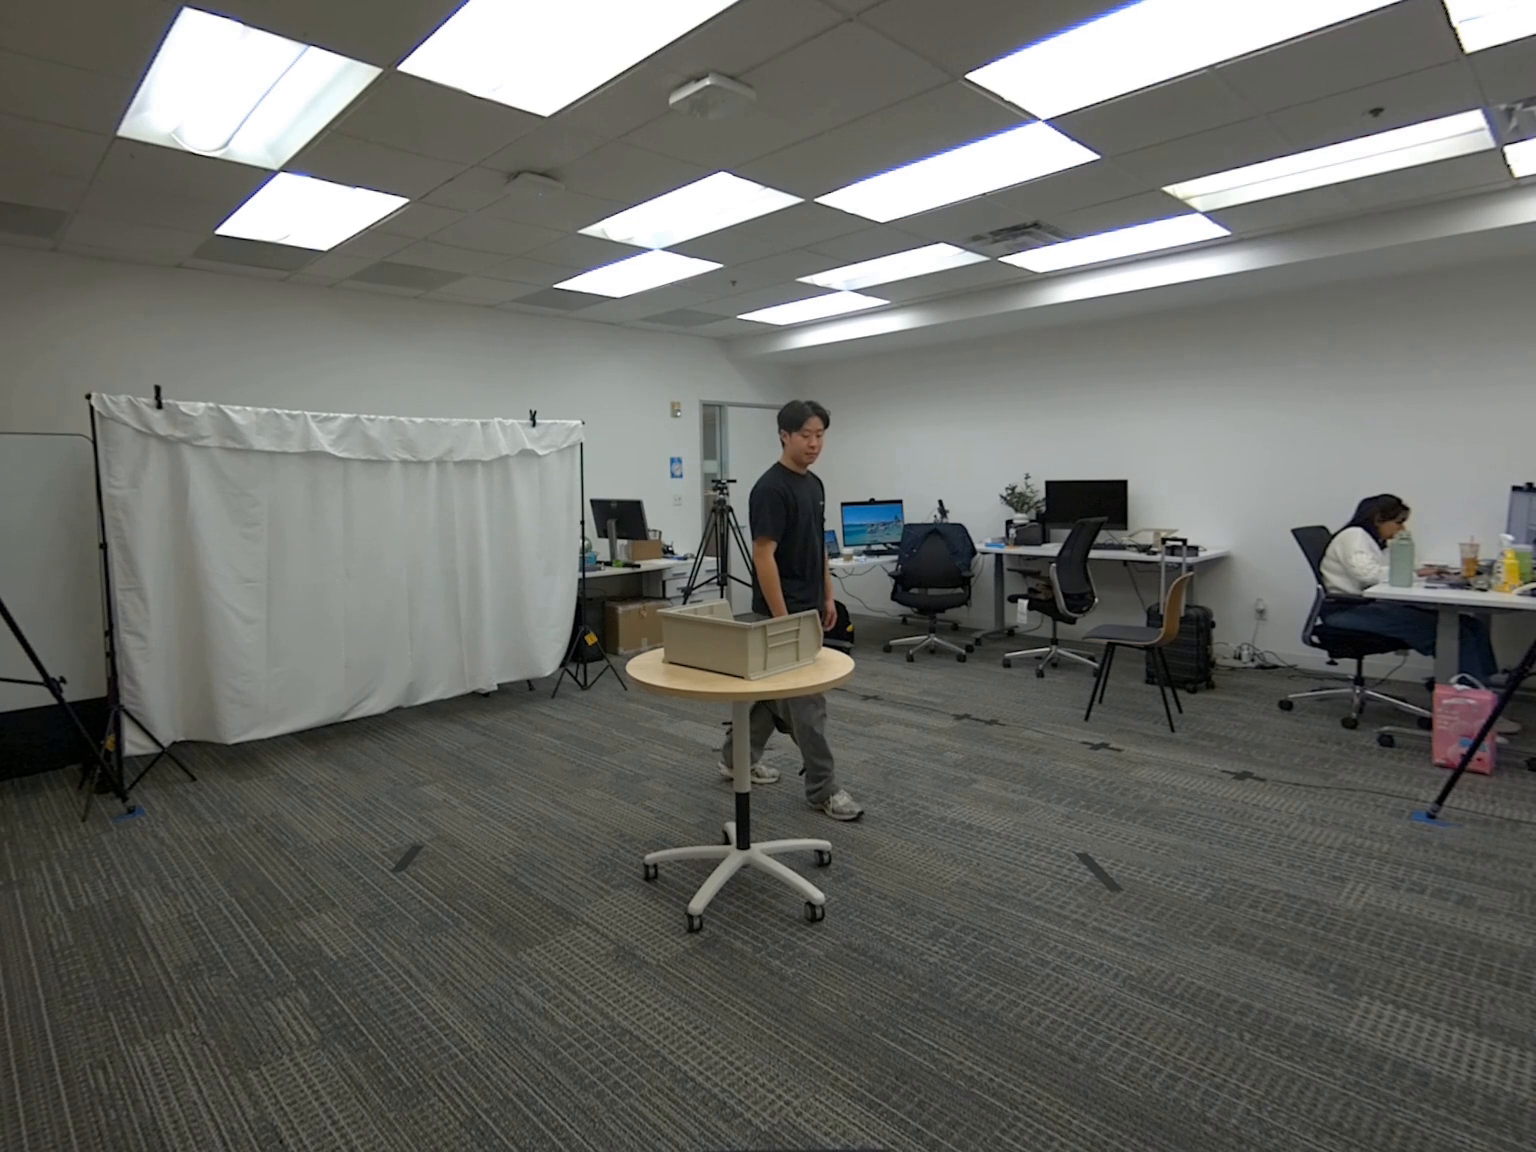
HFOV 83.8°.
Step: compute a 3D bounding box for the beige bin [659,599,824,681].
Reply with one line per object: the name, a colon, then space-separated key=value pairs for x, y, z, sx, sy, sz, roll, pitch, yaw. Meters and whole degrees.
beige bin: x=-0.088 y=0.203 z=2.884 sx=0.435 sy=0.188 sz=0.368 roll=5 pitch=10 yaw=41
